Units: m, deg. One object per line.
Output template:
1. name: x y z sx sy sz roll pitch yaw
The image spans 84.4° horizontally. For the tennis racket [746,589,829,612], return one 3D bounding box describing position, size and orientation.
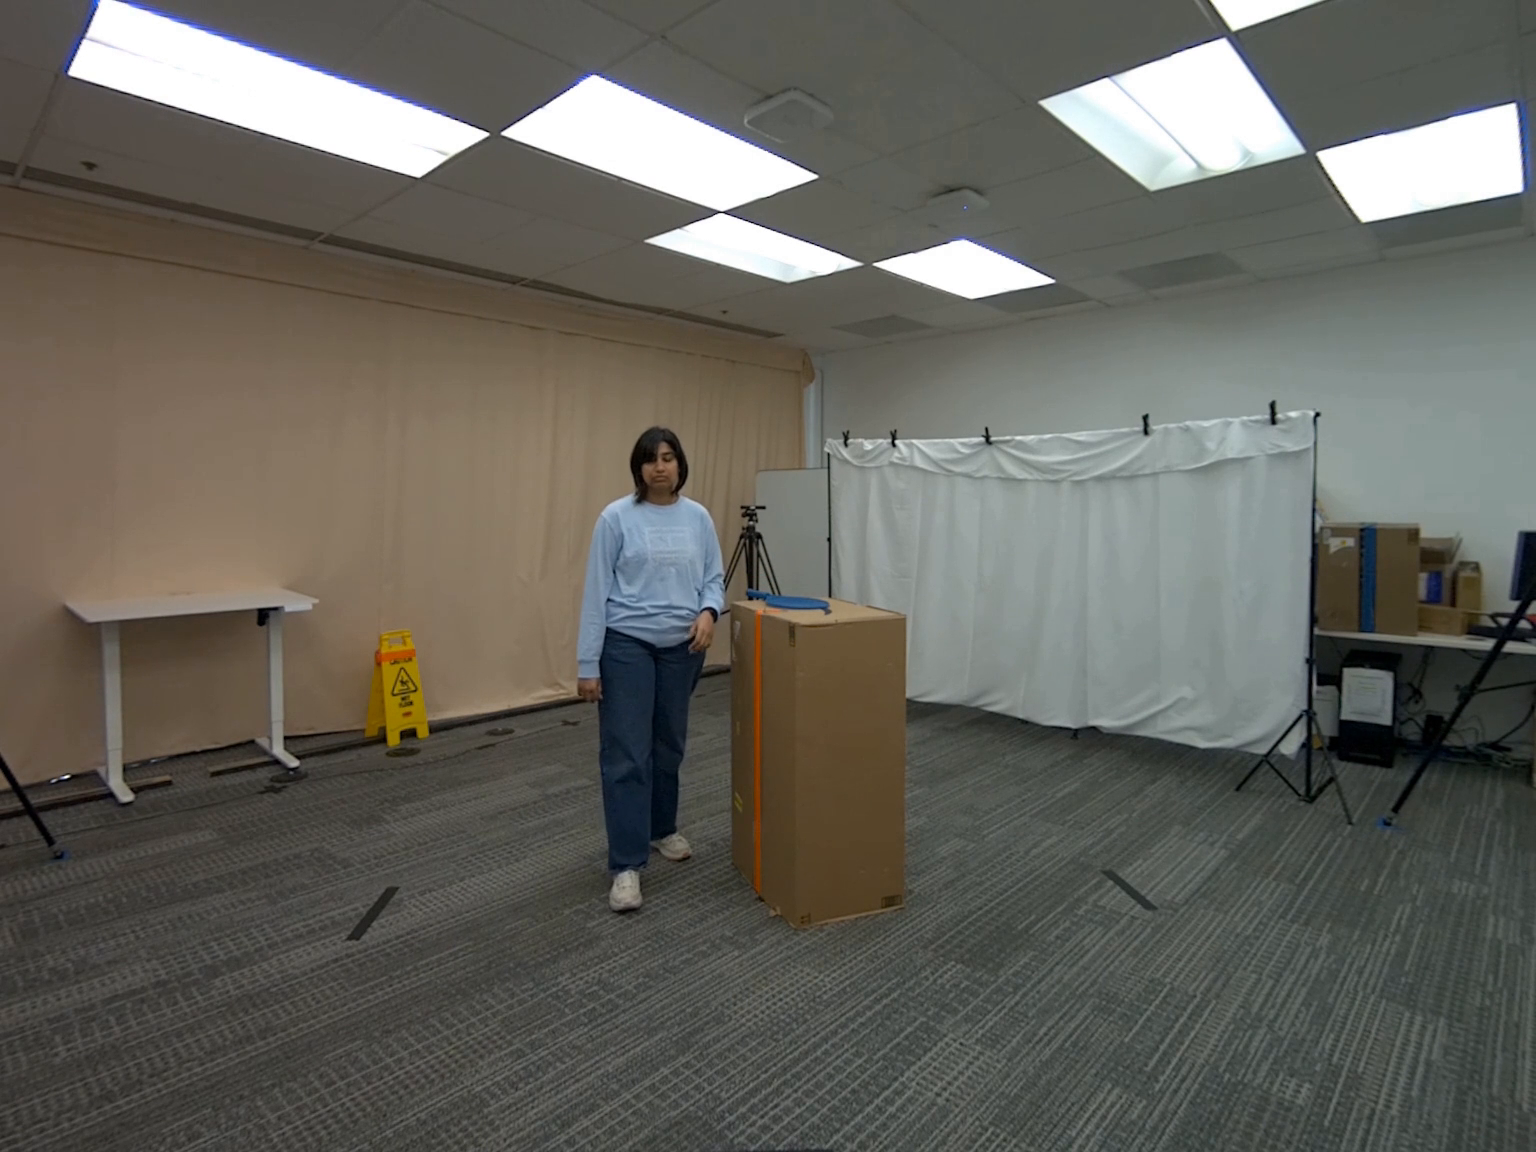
1. tennis racket: 0.044 0.097 3.164 0.207 0.031 0.448 -5 9 -40
